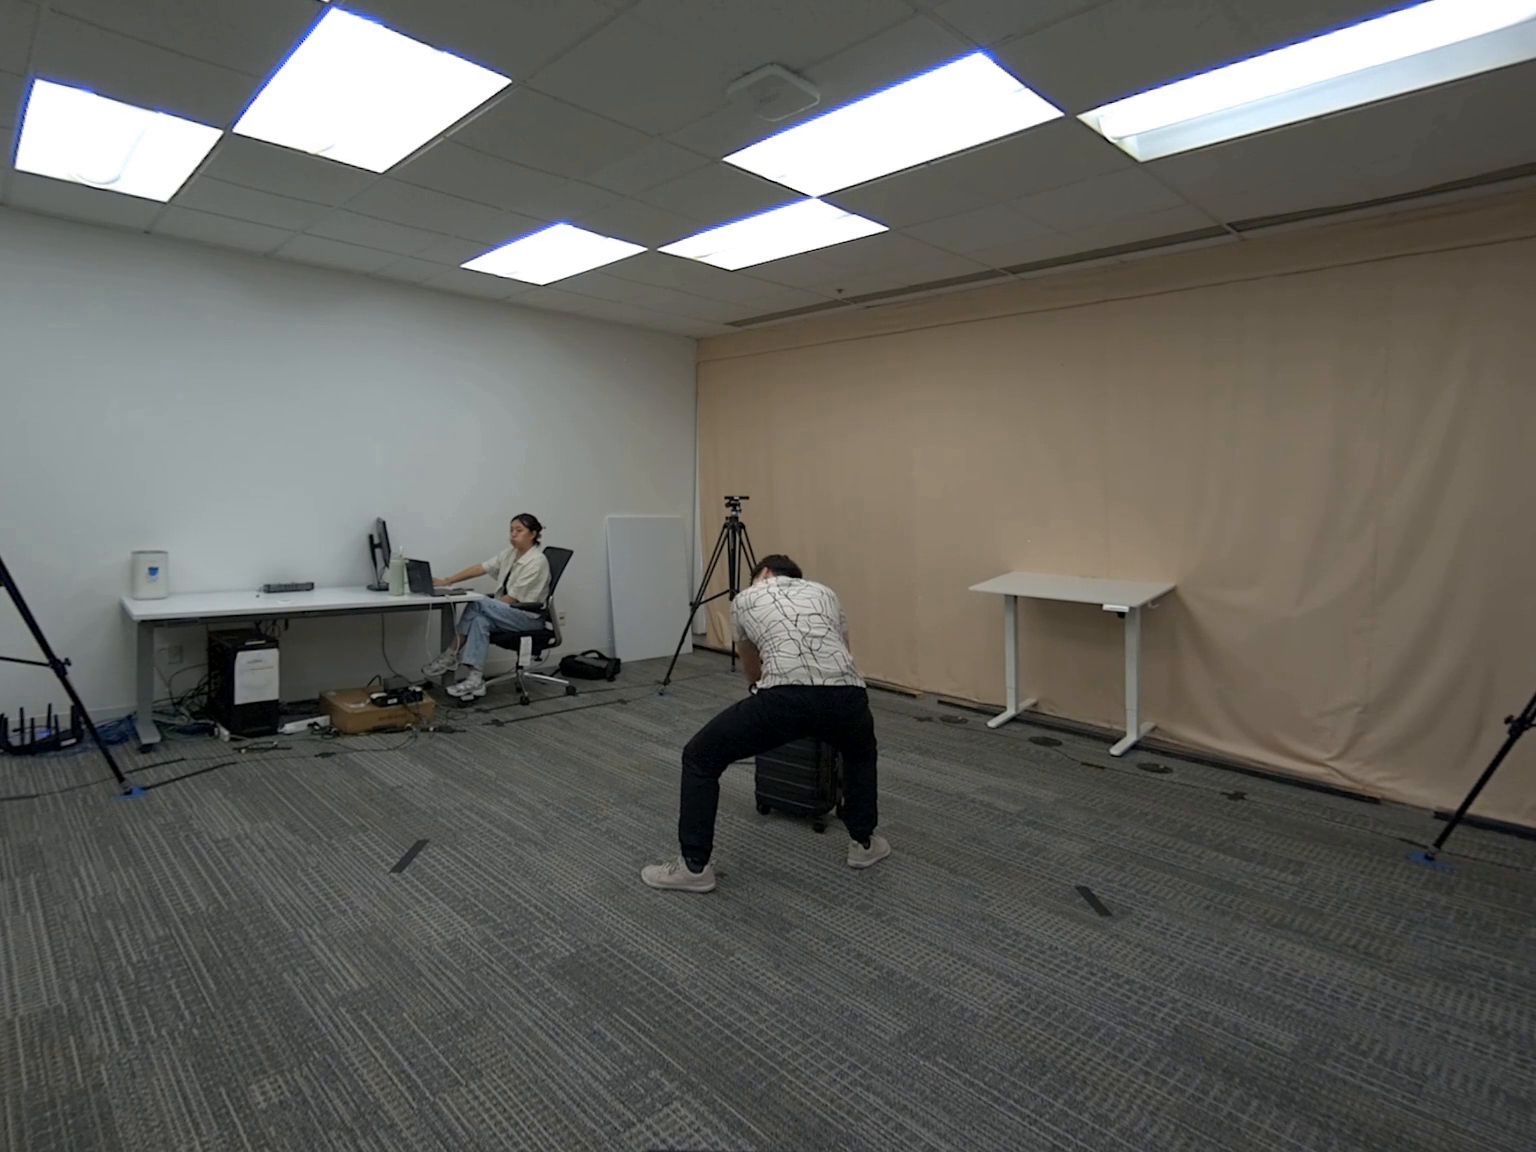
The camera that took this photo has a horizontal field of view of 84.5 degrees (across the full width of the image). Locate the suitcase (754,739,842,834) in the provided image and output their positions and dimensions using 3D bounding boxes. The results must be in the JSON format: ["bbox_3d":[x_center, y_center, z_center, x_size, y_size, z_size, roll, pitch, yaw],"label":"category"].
[{"bbox_3d":[0.131,0.787,3.708,0.384,0.548,0.243,3,5,36],"label":"suitcase"}]
